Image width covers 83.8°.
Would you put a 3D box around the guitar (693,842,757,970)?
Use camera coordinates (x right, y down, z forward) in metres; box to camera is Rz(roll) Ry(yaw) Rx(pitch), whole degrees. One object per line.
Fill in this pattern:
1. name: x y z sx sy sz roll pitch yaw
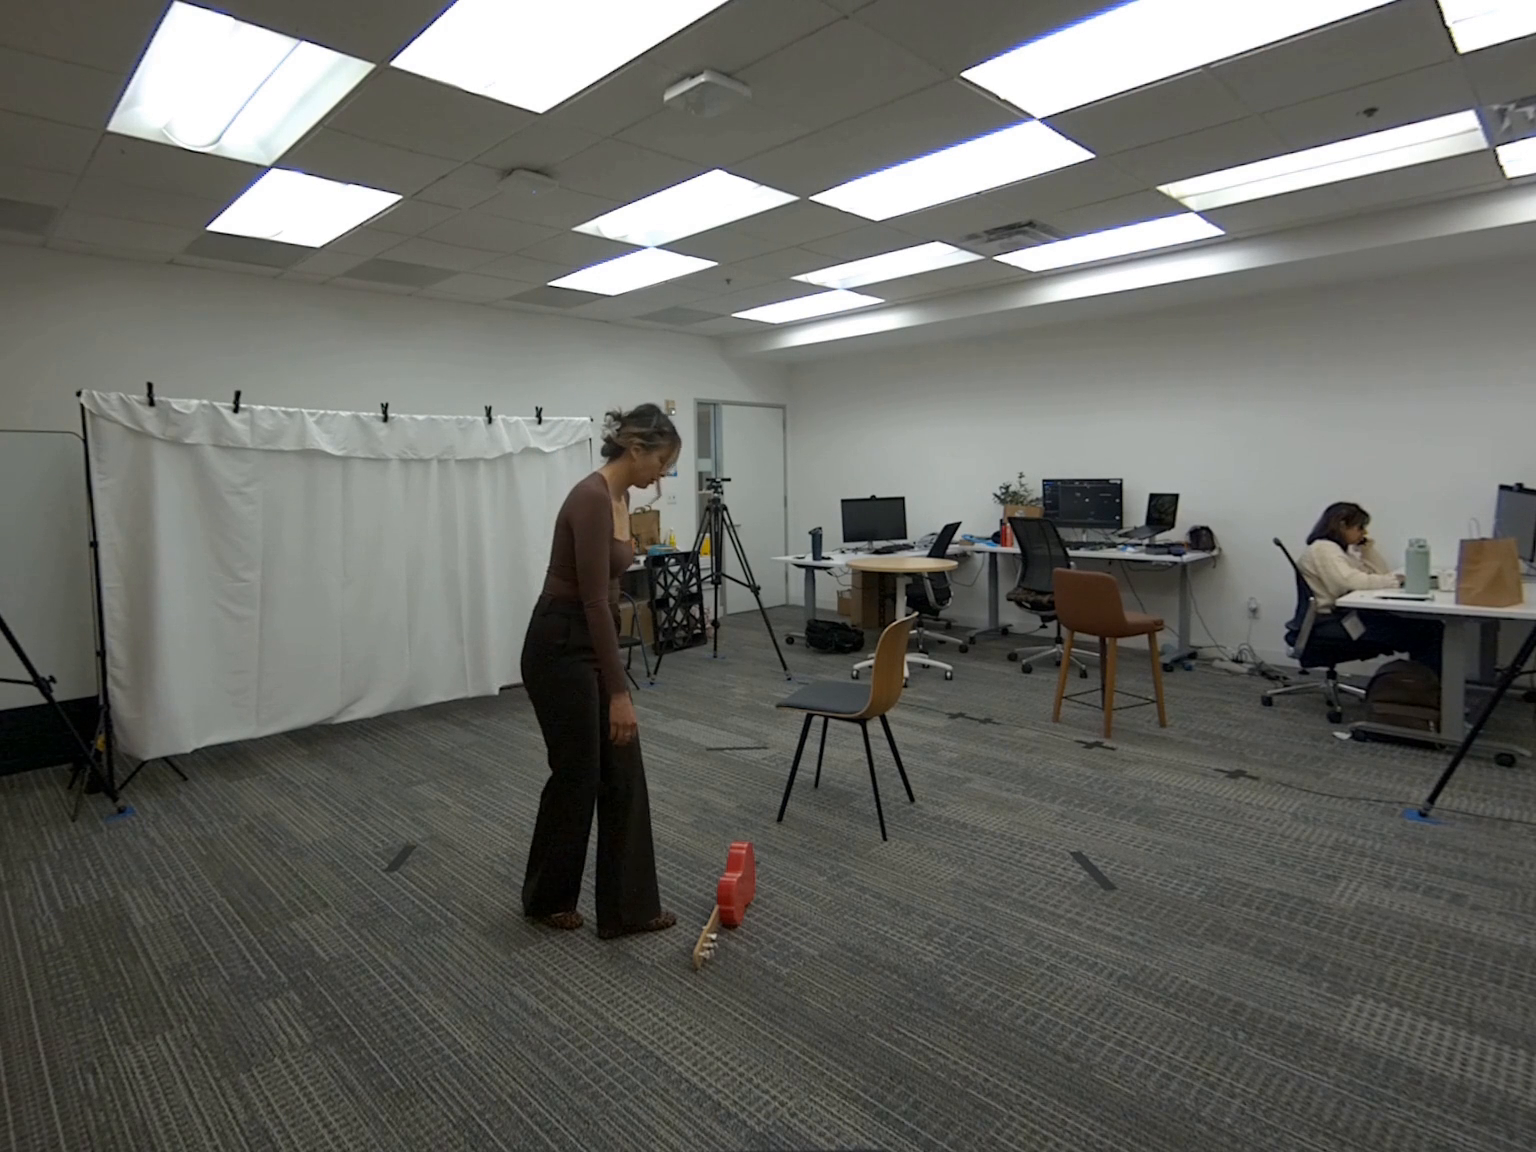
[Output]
1. guitar: -0.126 1.056 2.665 0.072 0.189 0.501 -2 24 14
